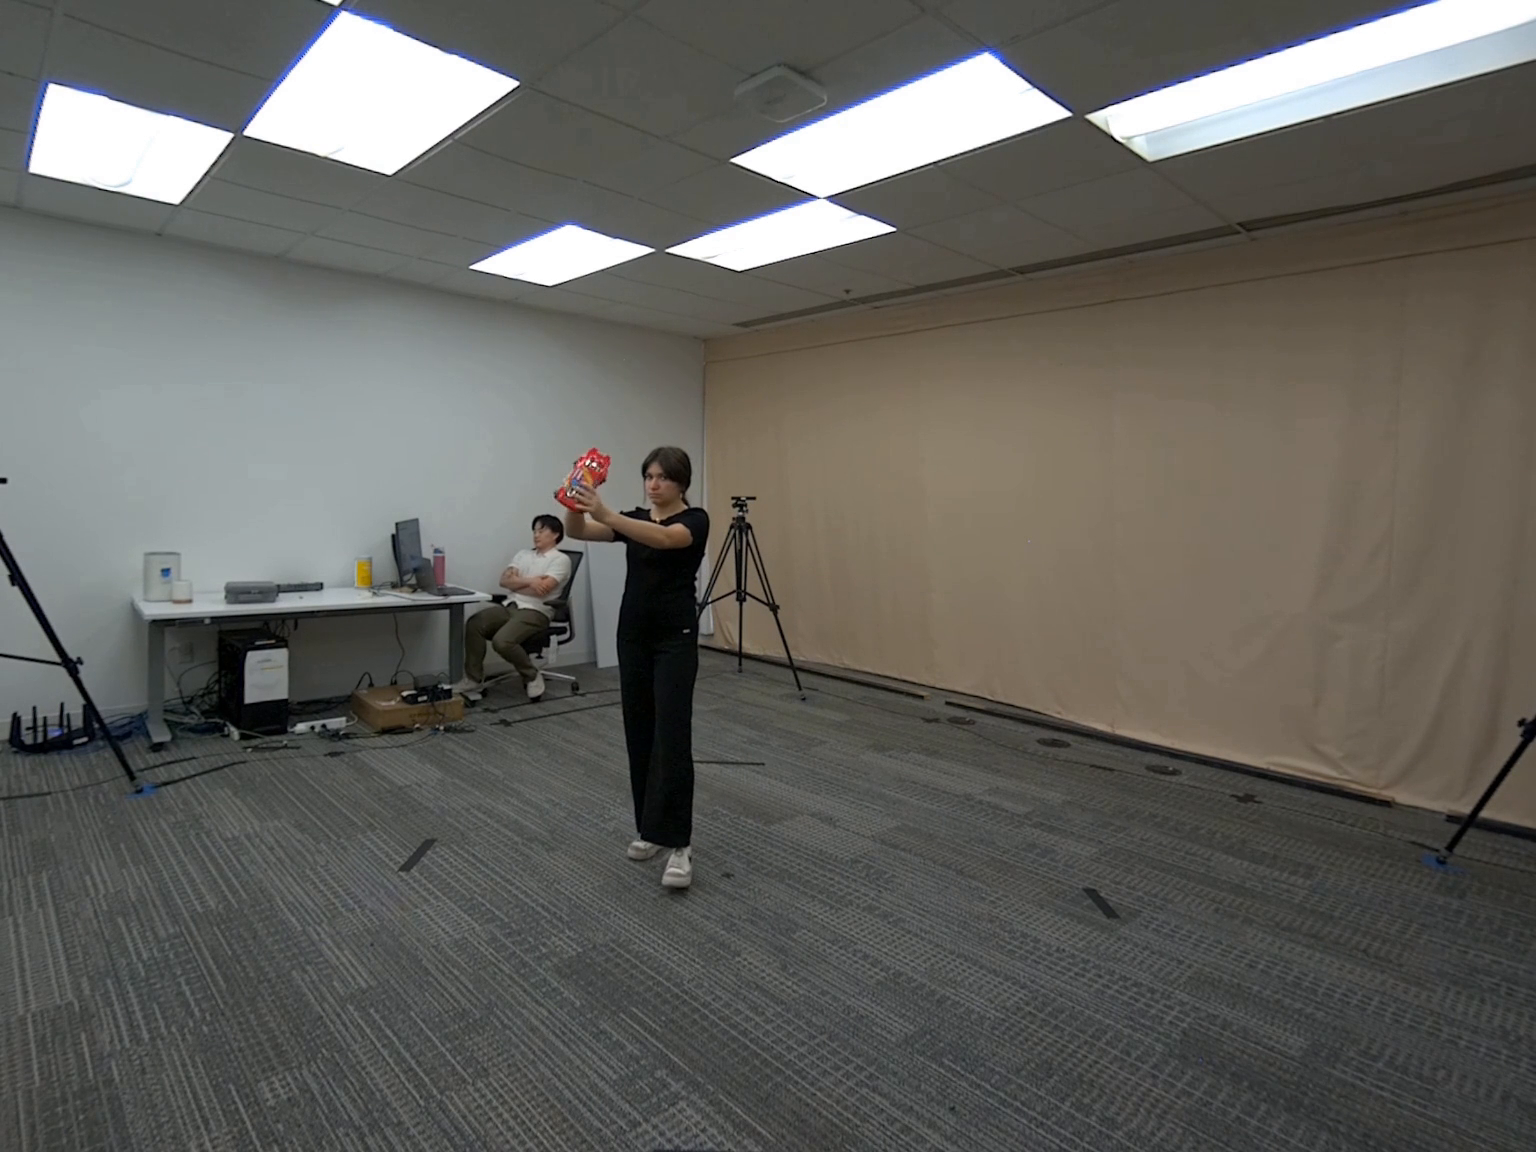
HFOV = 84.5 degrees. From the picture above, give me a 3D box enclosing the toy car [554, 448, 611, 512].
[{"bbox_3d":[-0.646,-0.332,2.906,0.129,0.256,0.084,30,-19,-11],"label":"toy car"}]
